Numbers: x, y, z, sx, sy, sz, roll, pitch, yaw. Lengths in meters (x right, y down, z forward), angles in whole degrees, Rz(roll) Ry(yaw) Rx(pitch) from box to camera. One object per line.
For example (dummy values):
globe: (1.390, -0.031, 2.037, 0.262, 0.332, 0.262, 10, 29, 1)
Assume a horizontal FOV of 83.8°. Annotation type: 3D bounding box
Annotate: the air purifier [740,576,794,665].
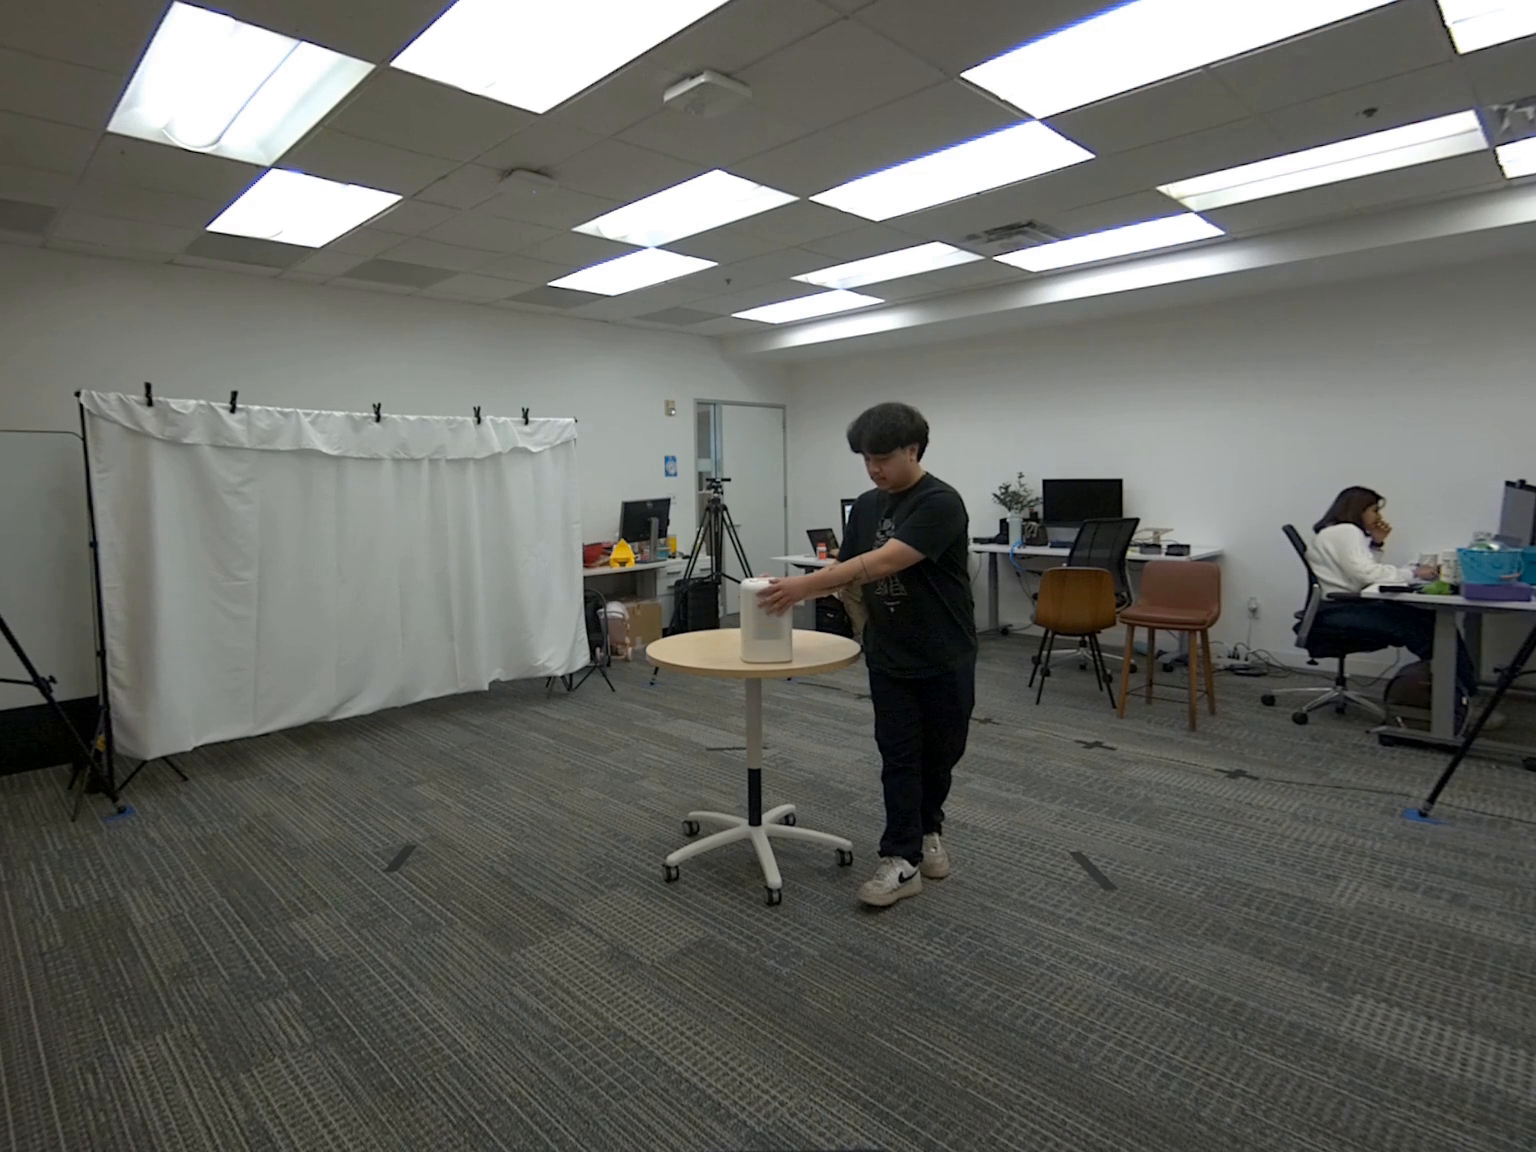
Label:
air purifier: (0.000, 0.146, 2.853, 0.172, 0.264, 0.171, -3, 6, 3)
